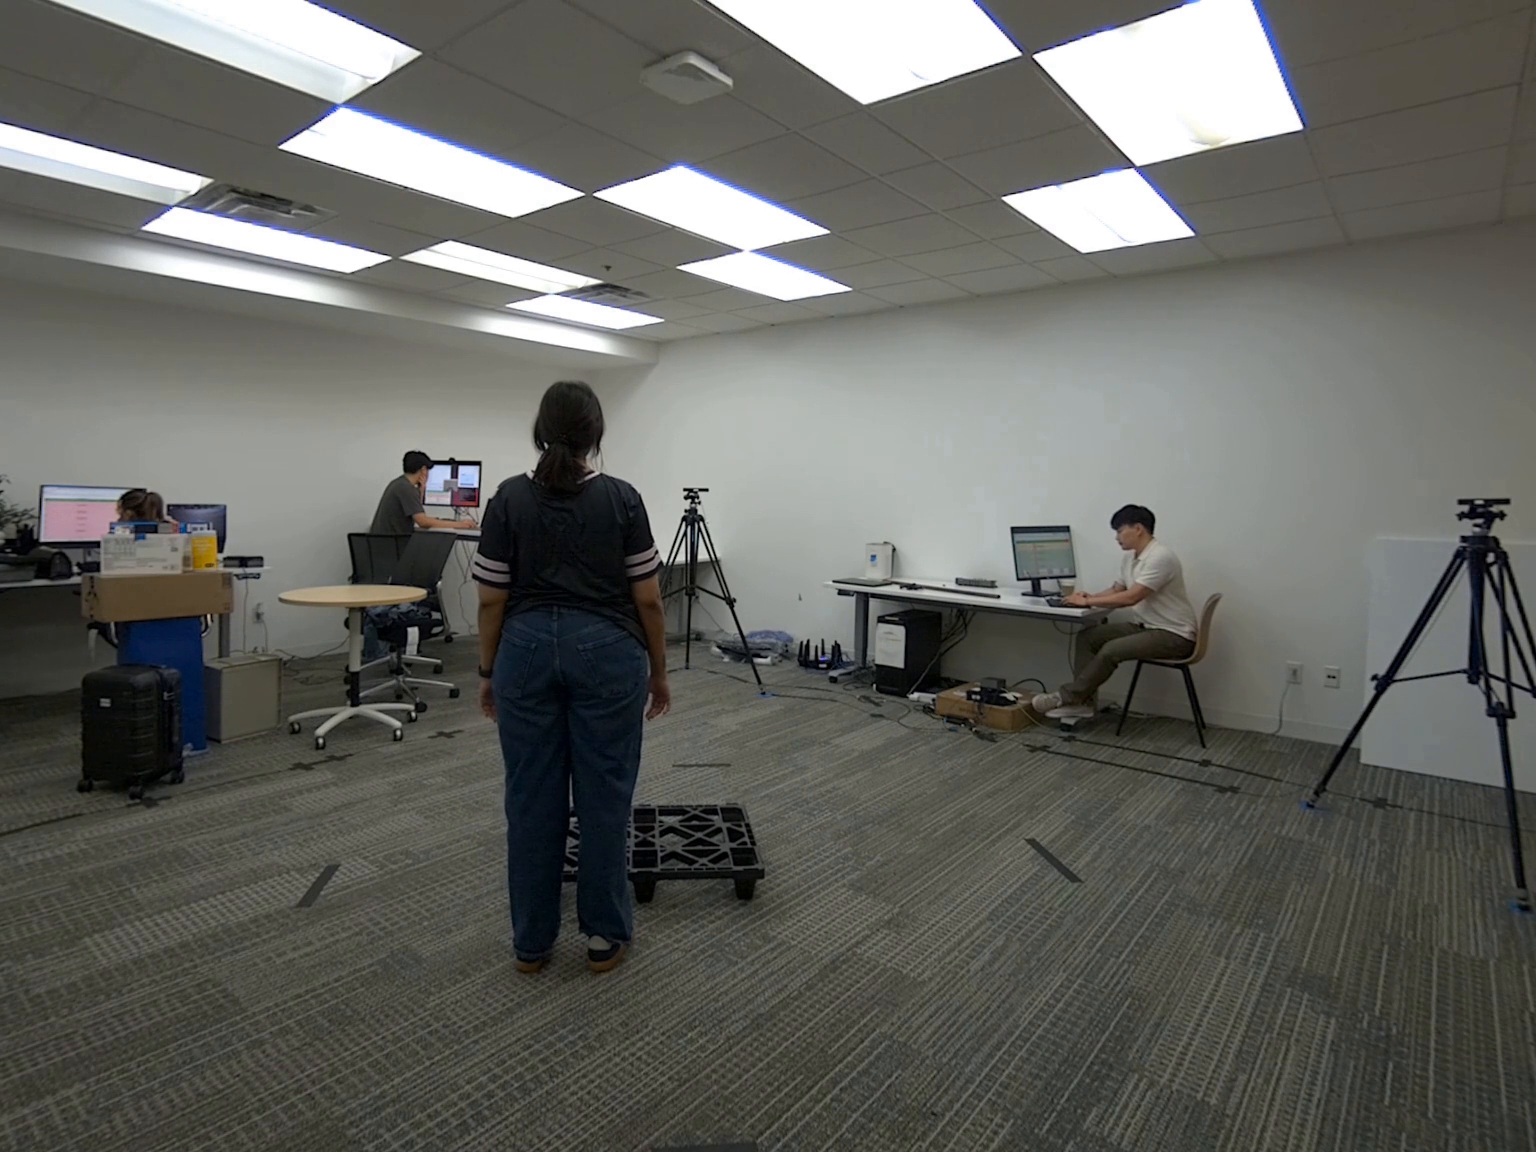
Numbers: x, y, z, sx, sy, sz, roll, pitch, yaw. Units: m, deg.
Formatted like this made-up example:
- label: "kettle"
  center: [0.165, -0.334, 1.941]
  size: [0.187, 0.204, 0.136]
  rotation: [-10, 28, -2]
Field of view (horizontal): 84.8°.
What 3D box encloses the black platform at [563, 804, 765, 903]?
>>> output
- label: "black platform"
  center: [-0.450, 1.003, 3.076]
  size: [0.801, 0.143, 0.612]
  rotation: [0, 6, -6]
